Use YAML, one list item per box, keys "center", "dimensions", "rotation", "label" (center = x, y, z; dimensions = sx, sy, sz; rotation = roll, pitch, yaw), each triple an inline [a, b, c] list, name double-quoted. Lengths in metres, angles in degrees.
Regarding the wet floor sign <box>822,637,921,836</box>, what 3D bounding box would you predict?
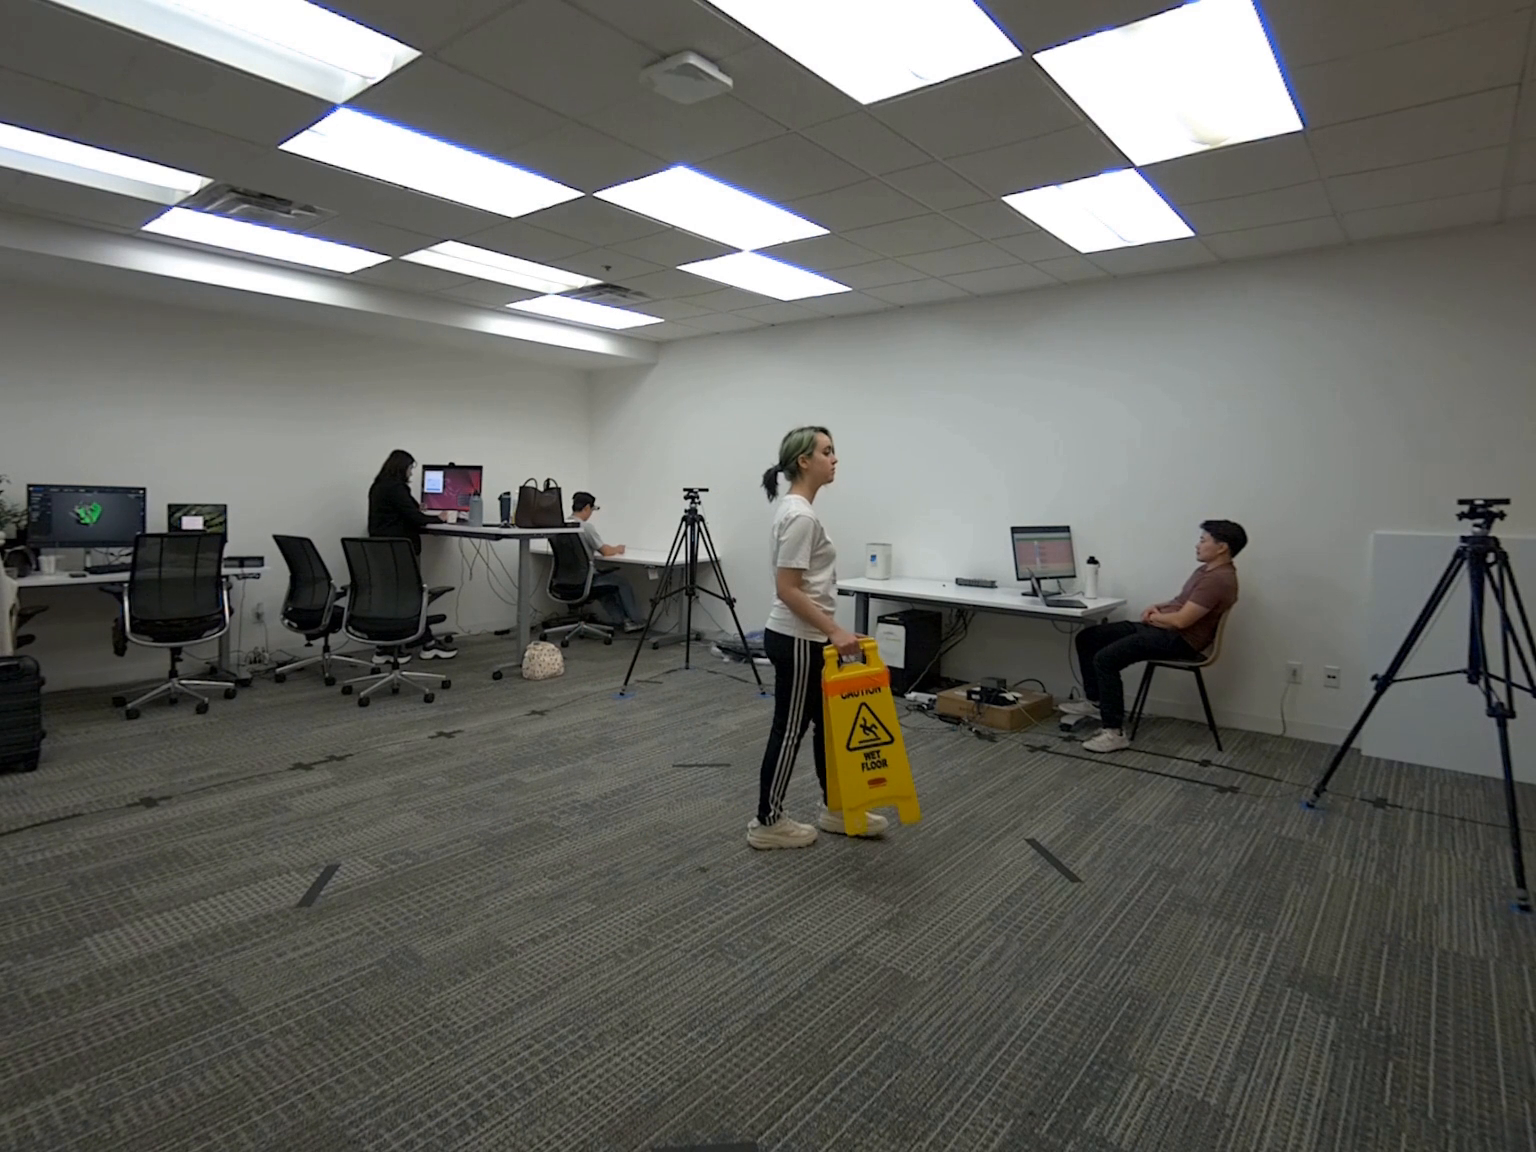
- center: [0.342, 0.561, 3.098]
  dimensions: [0.280, 0.643, 0.293]
  rotation: [-10, 4, -9]
  label: "wet floor sign"
